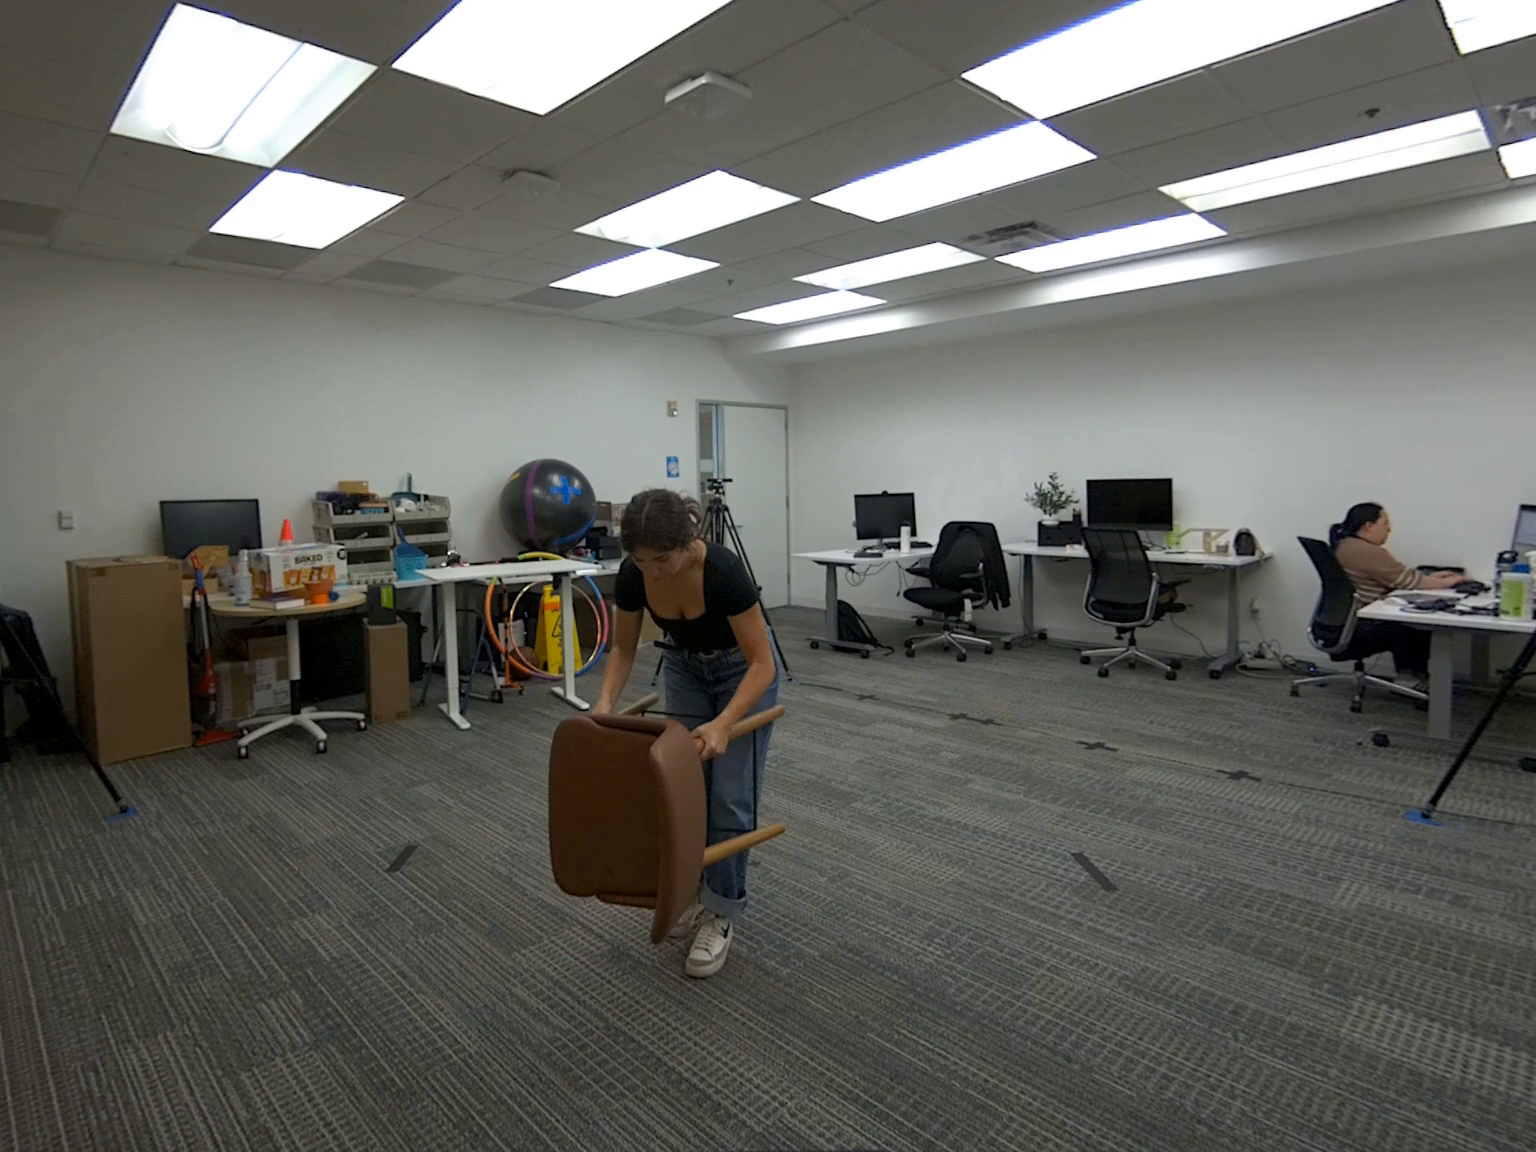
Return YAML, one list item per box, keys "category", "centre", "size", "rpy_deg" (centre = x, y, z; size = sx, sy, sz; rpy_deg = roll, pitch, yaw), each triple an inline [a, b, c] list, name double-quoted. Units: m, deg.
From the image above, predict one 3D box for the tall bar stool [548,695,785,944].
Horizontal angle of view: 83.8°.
- category: "tall bar stool"
  centre: [-0.290, 0.581, 2.229]
  size: [0.476, 0.457, 0.873]
  rpy_deg: [-1, -1, 17]
